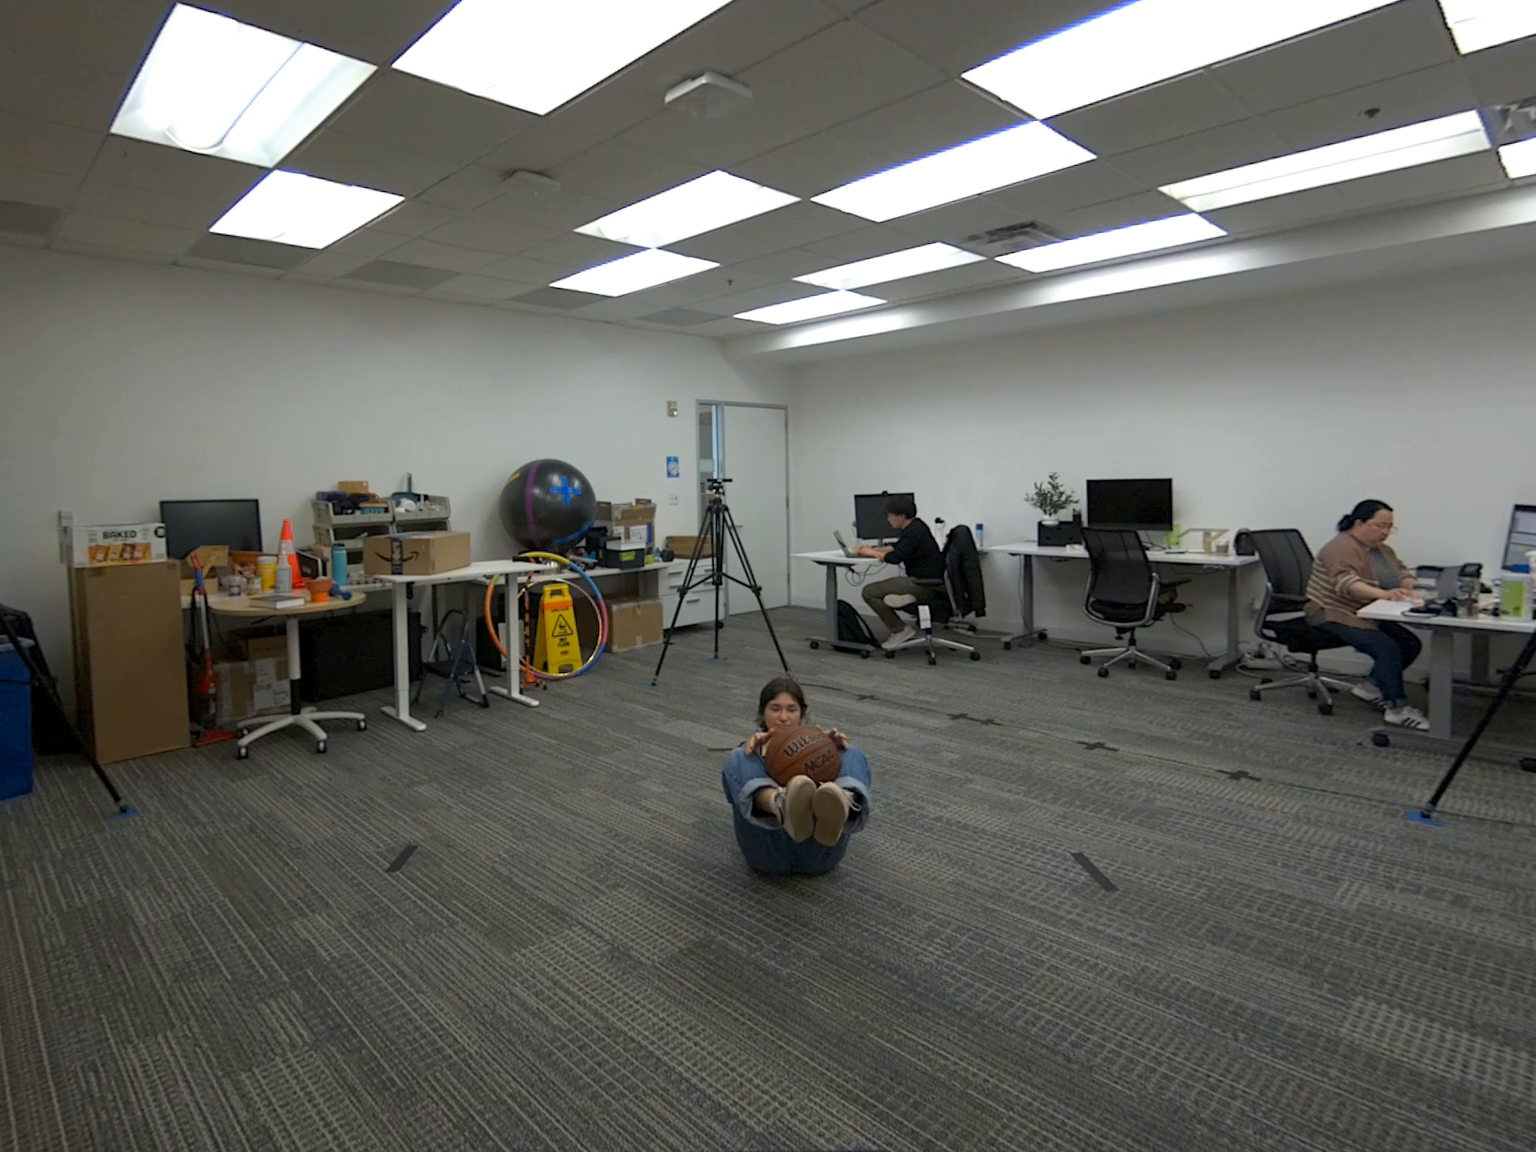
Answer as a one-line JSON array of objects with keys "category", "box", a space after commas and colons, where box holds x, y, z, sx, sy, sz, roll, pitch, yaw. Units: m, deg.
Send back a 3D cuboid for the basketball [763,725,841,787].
[{"category": "basketball", "box": [0.107, 0.594, 2.705, 0.236, 0.235, 0.237, -1, 5, -2]}]
